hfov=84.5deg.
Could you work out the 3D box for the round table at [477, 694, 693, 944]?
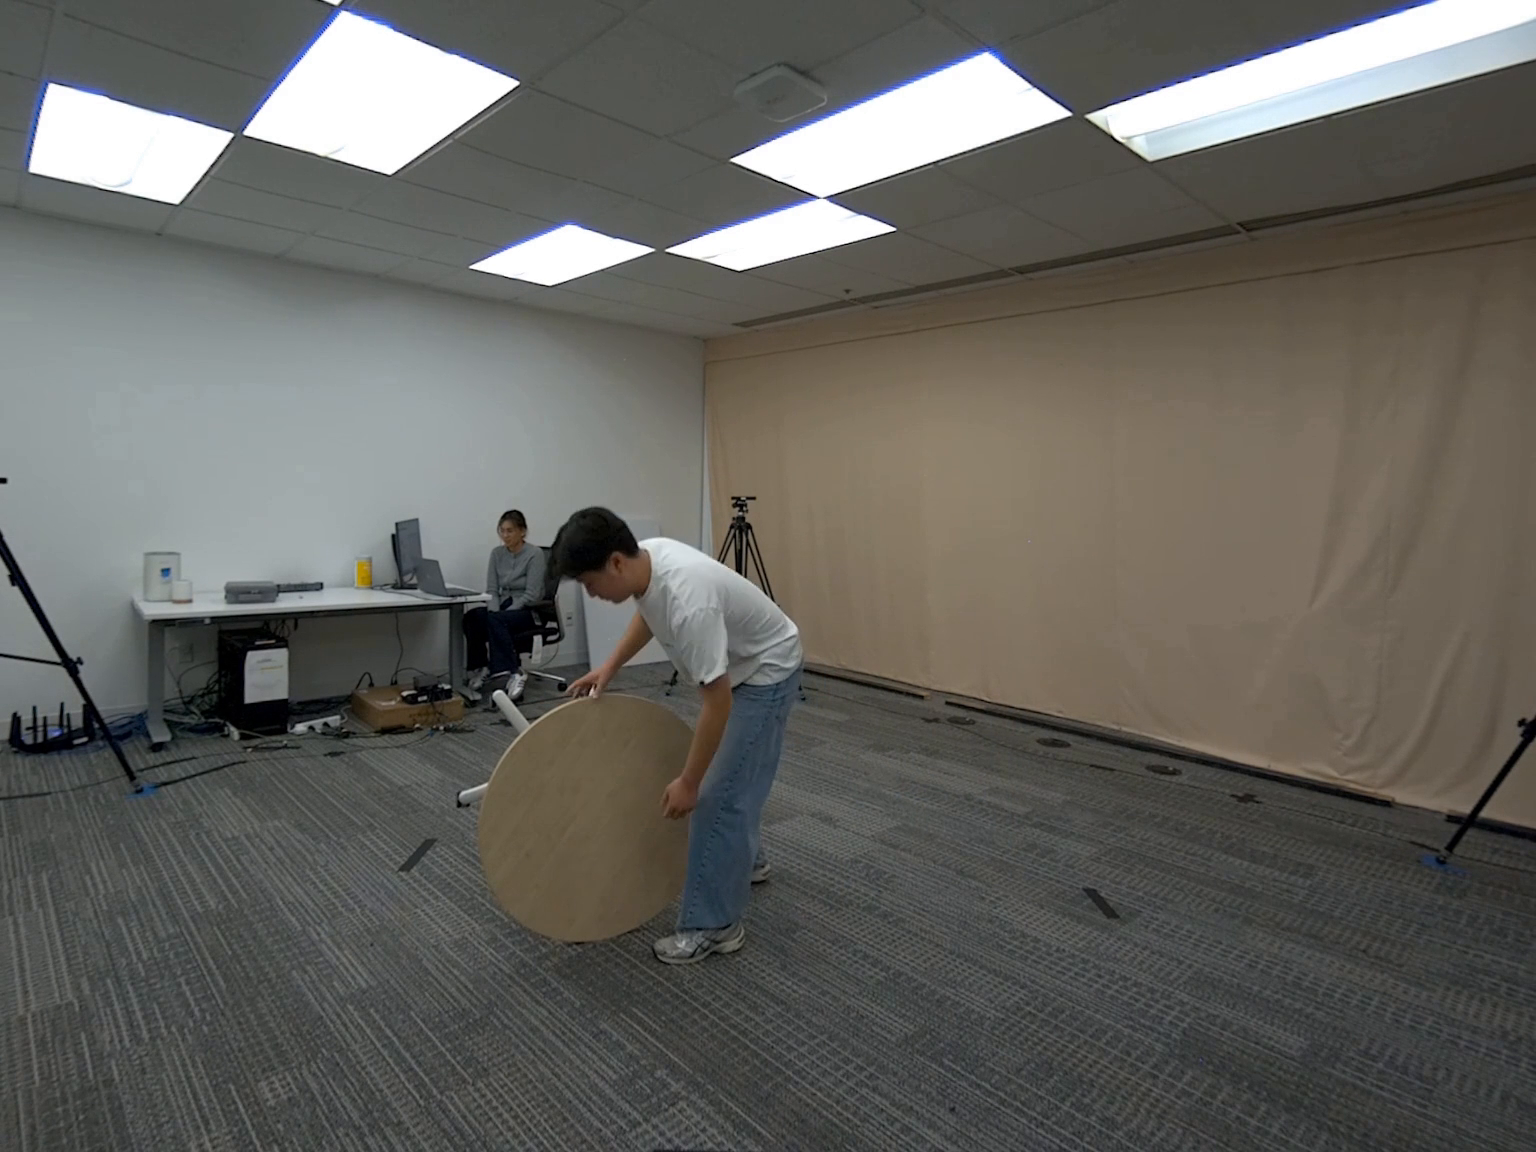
[{"bbox_3d":[-0.709,0.746,2.985,0.749,0.763,0.810,-1,2,-27],"label":"round table"}]
